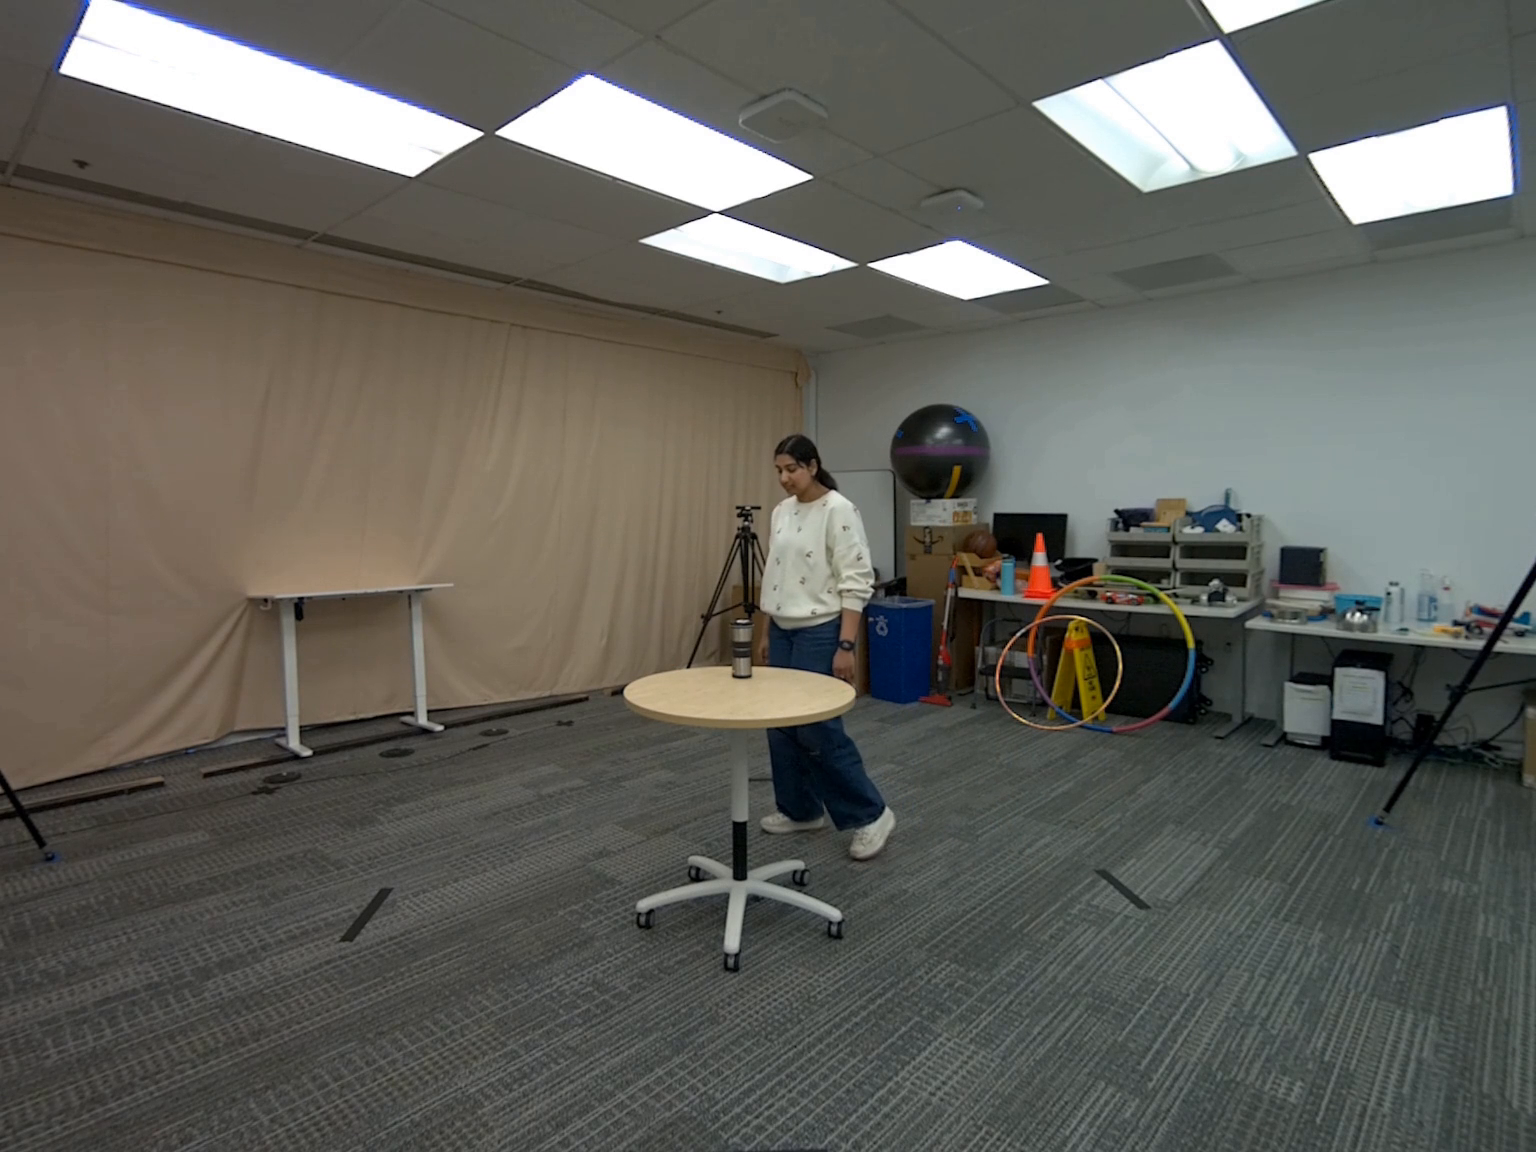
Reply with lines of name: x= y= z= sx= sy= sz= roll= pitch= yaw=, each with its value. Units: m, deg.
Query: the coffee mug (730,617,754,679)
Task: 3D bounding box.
coffee mug: x=-0.079 y=0.259 z=3.009 sx=0.090 sy=0.202 sz=0.120 roll=-1 pitch=3 yaw=19
